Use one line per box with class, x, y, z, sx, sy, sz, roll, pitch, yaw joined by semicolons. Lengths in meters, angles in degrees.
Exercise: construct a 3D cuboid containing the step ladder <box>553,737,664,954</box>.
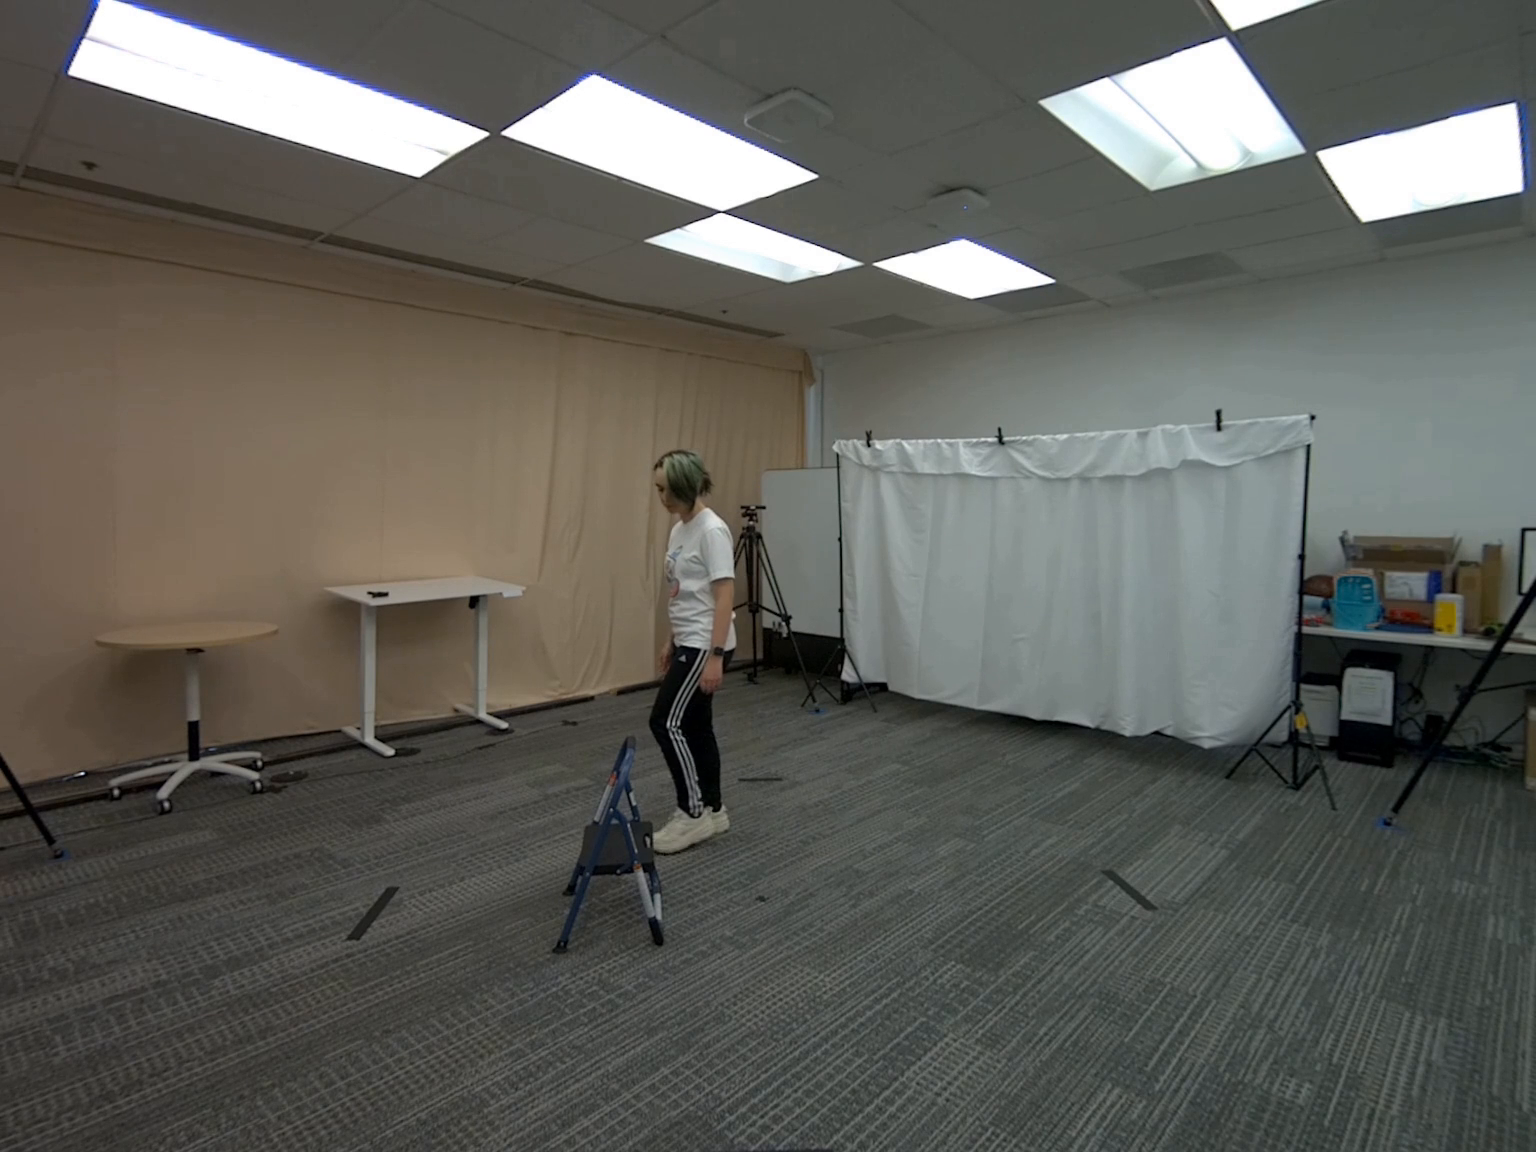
step ladder;-0.544;0.861;2.836;0.347;0.605;0.434;-1;4;-7
